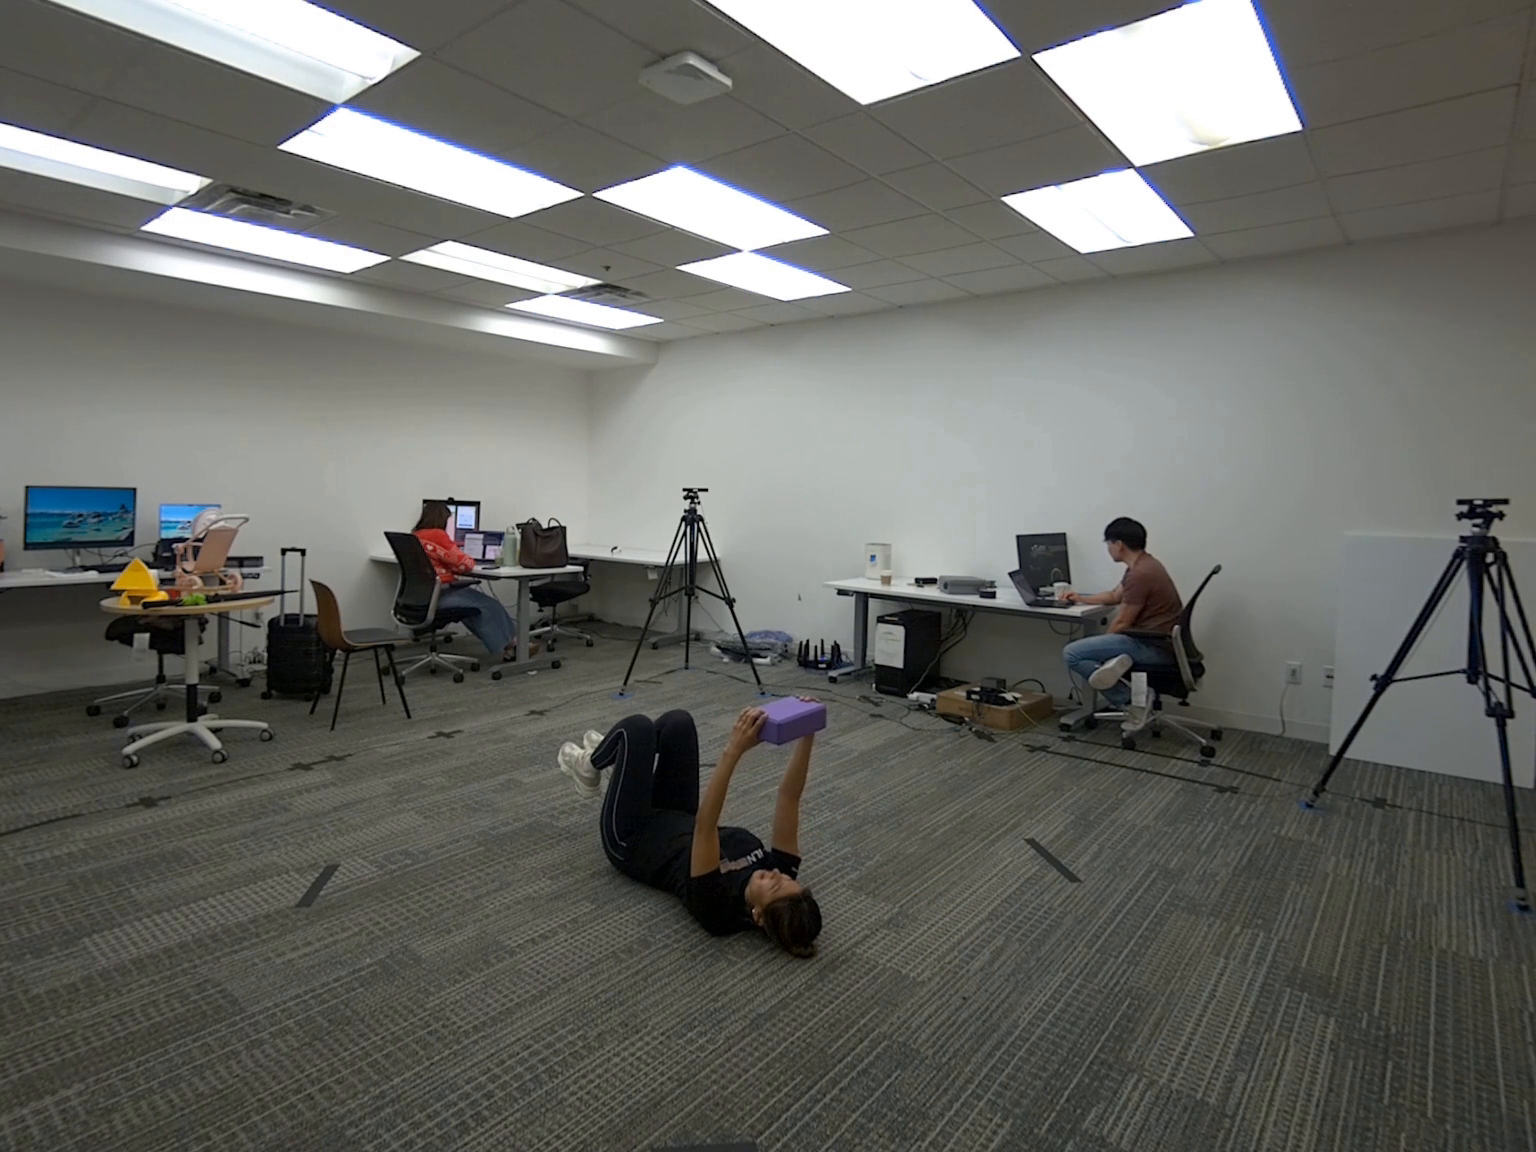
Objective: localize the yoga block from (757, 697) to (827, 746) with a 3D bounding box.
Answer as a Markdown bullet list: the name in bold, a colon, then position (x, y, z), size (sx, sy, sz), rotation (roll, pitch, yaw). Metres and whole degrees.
- **yoga block**: position (0.049, 0.431, 2.575), size (0.154, 0.076, 0.223), rotation (5, 10, 43)
